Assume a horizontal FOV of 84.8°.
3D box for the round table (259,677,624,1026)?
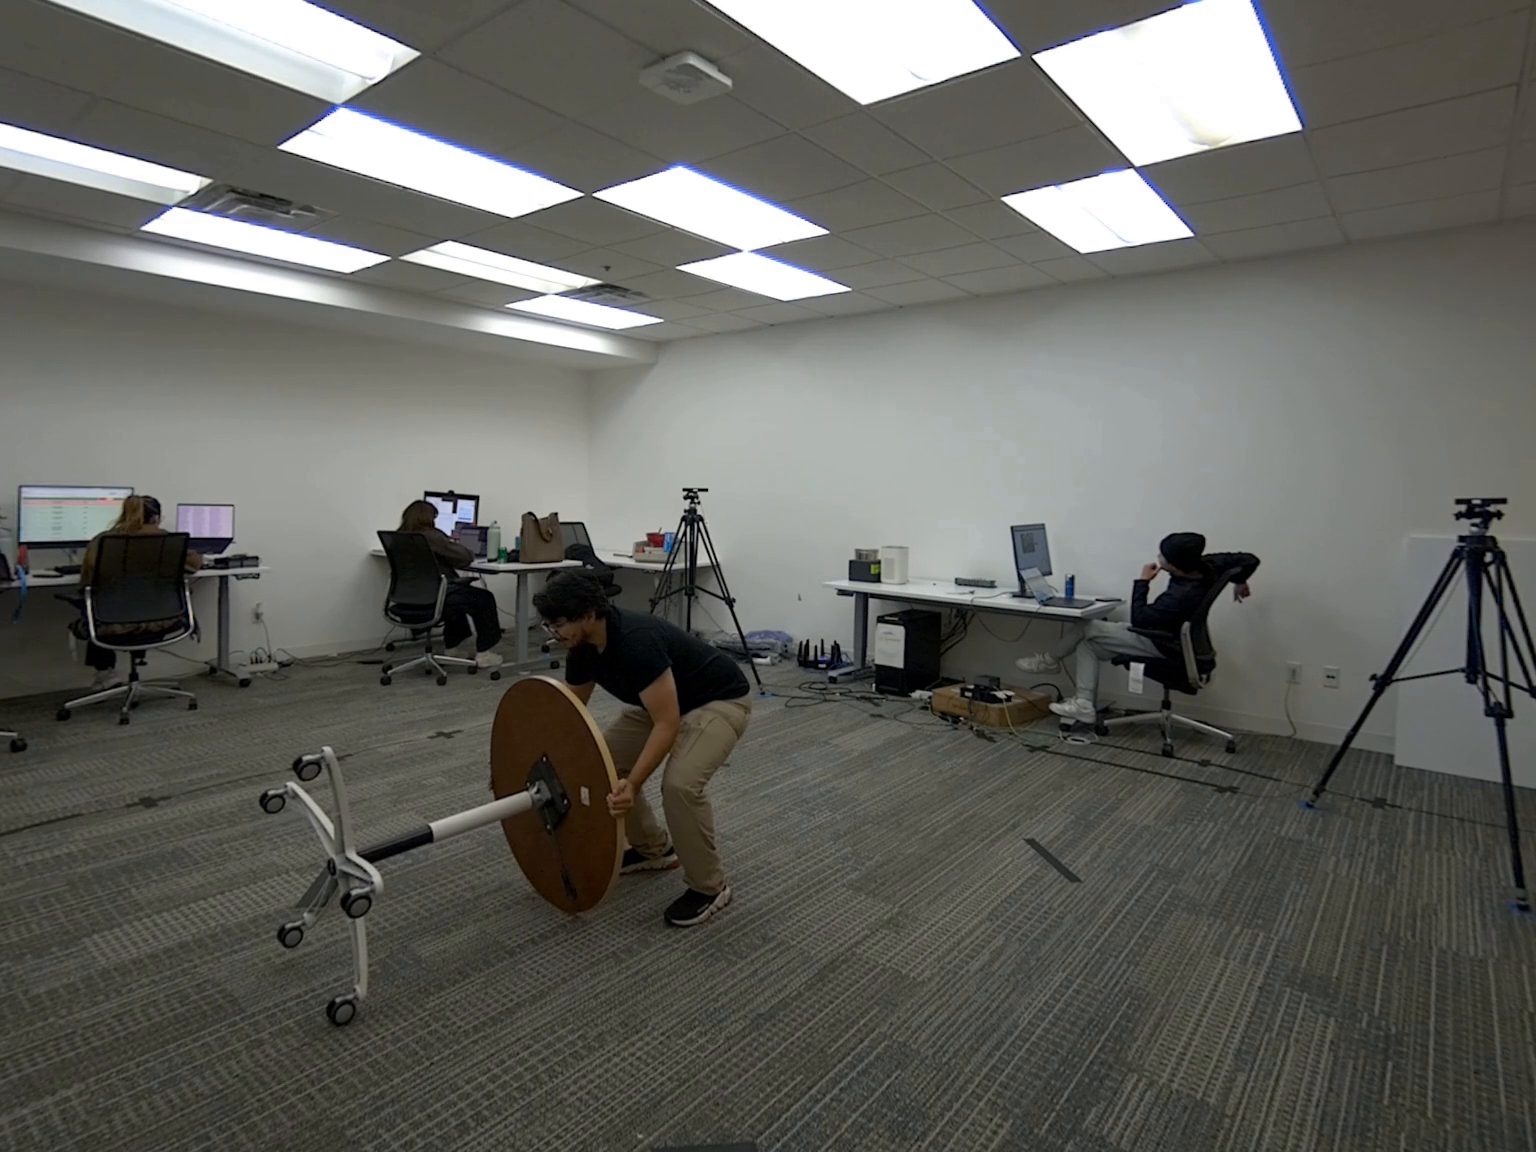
[{"bbox_3d":[-0.992,0.753,2.537,0.764,0.781,0.812,-8,9,-44],"label":"round table"}]
